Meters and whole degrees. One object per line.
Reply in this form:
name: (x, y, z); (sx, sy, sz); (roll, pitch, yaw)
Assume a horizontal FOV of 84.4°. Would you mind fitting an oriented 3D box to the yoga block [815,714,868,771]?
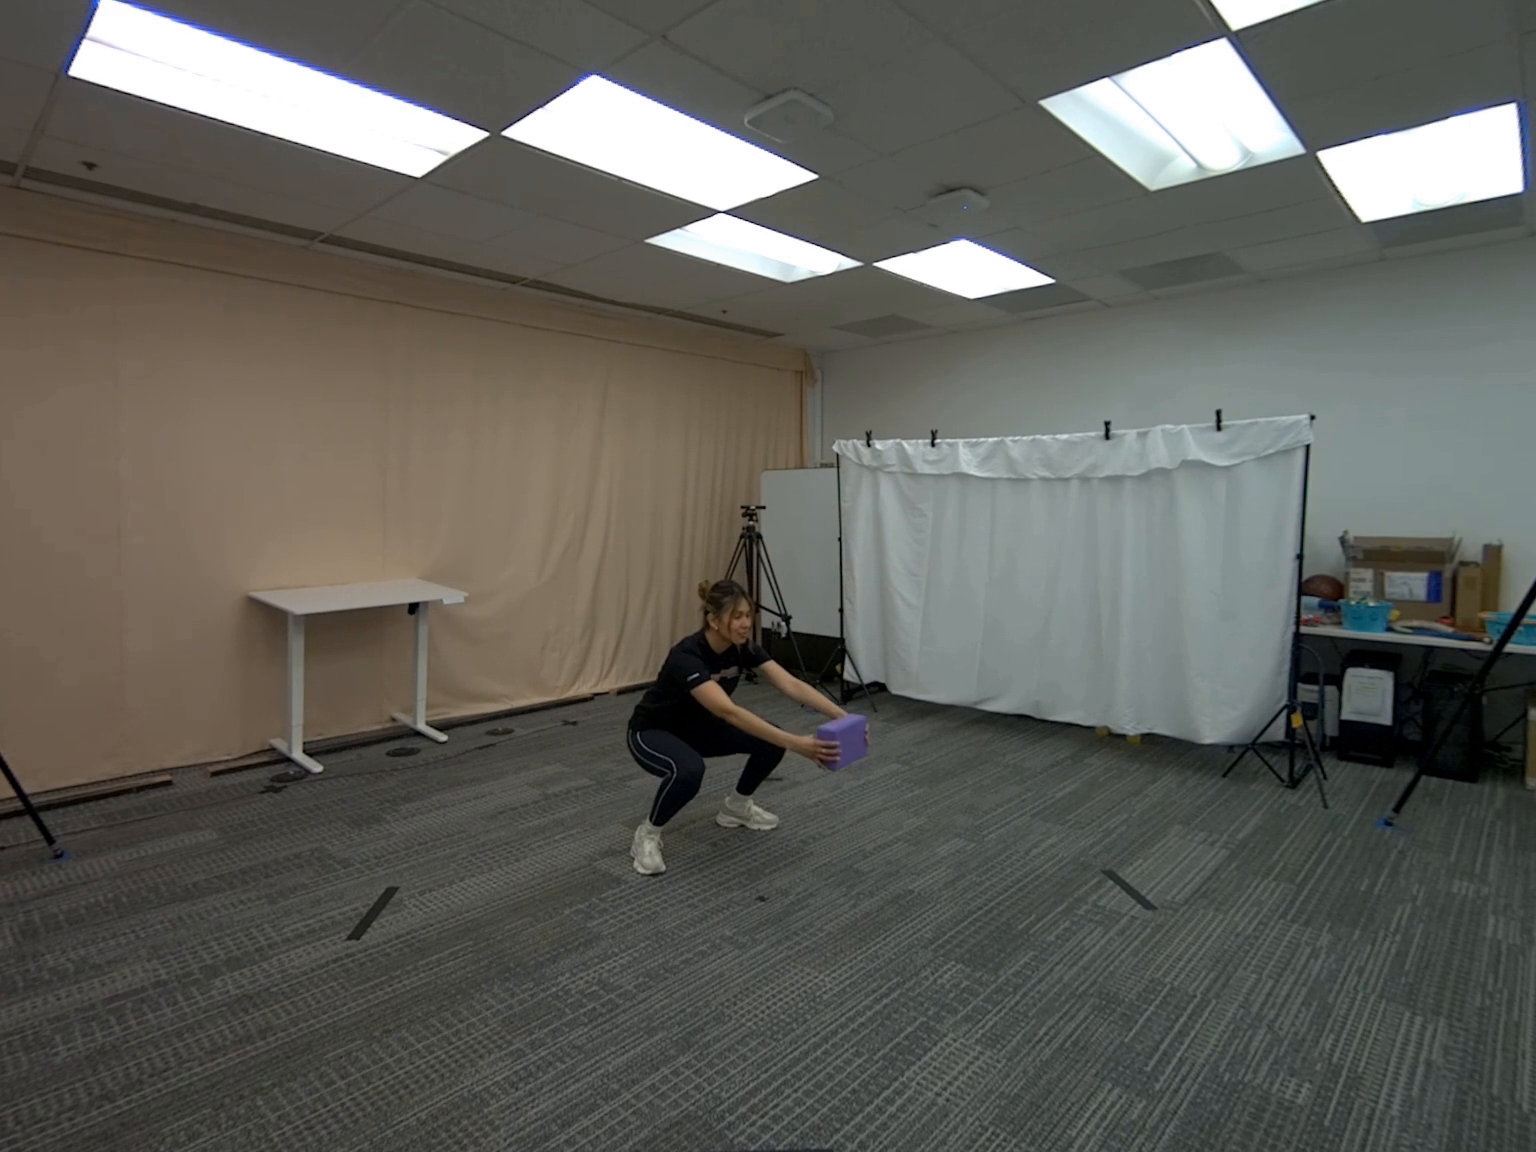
yoga block: (0.268, 0.582, 2.975); (0.079, 0.148, 0.222); (3, 5, 38)
